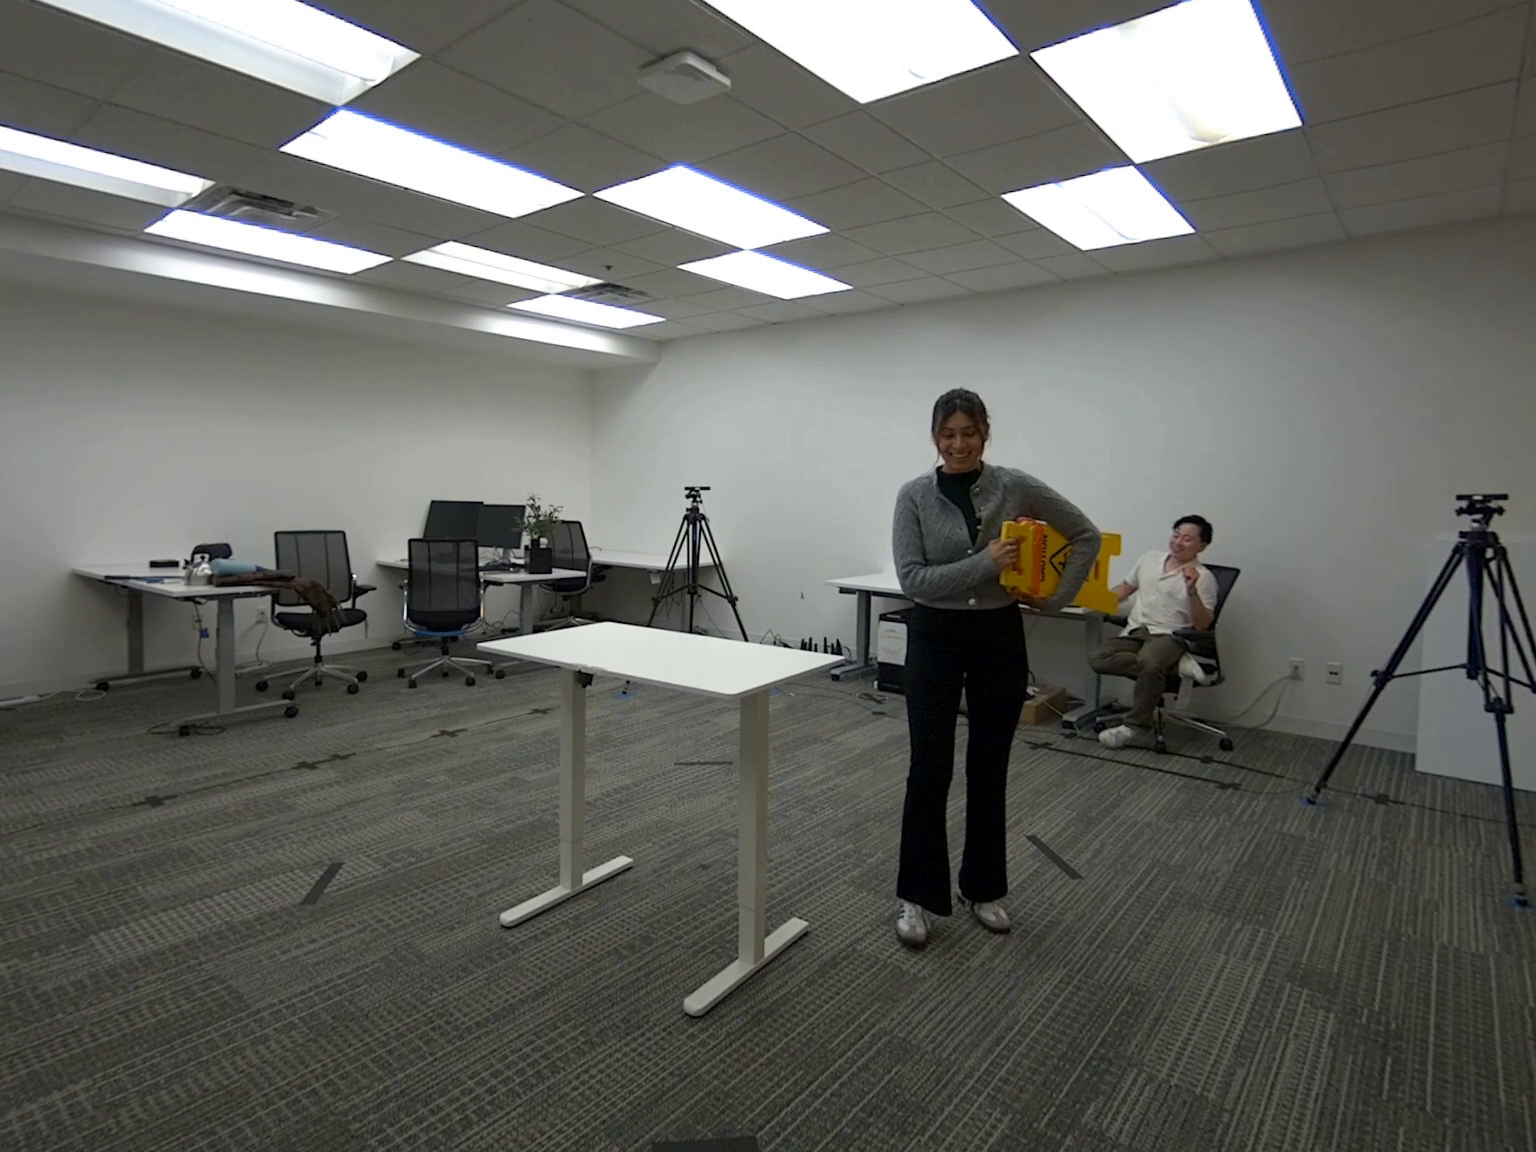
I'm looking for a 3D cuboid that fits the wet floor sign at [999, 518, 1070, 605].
[{"bbox_3d":[0.907,-0.039,2.814,0.299,0.283,0.623,2,-4,38],"label":"wet floor sign"}]
